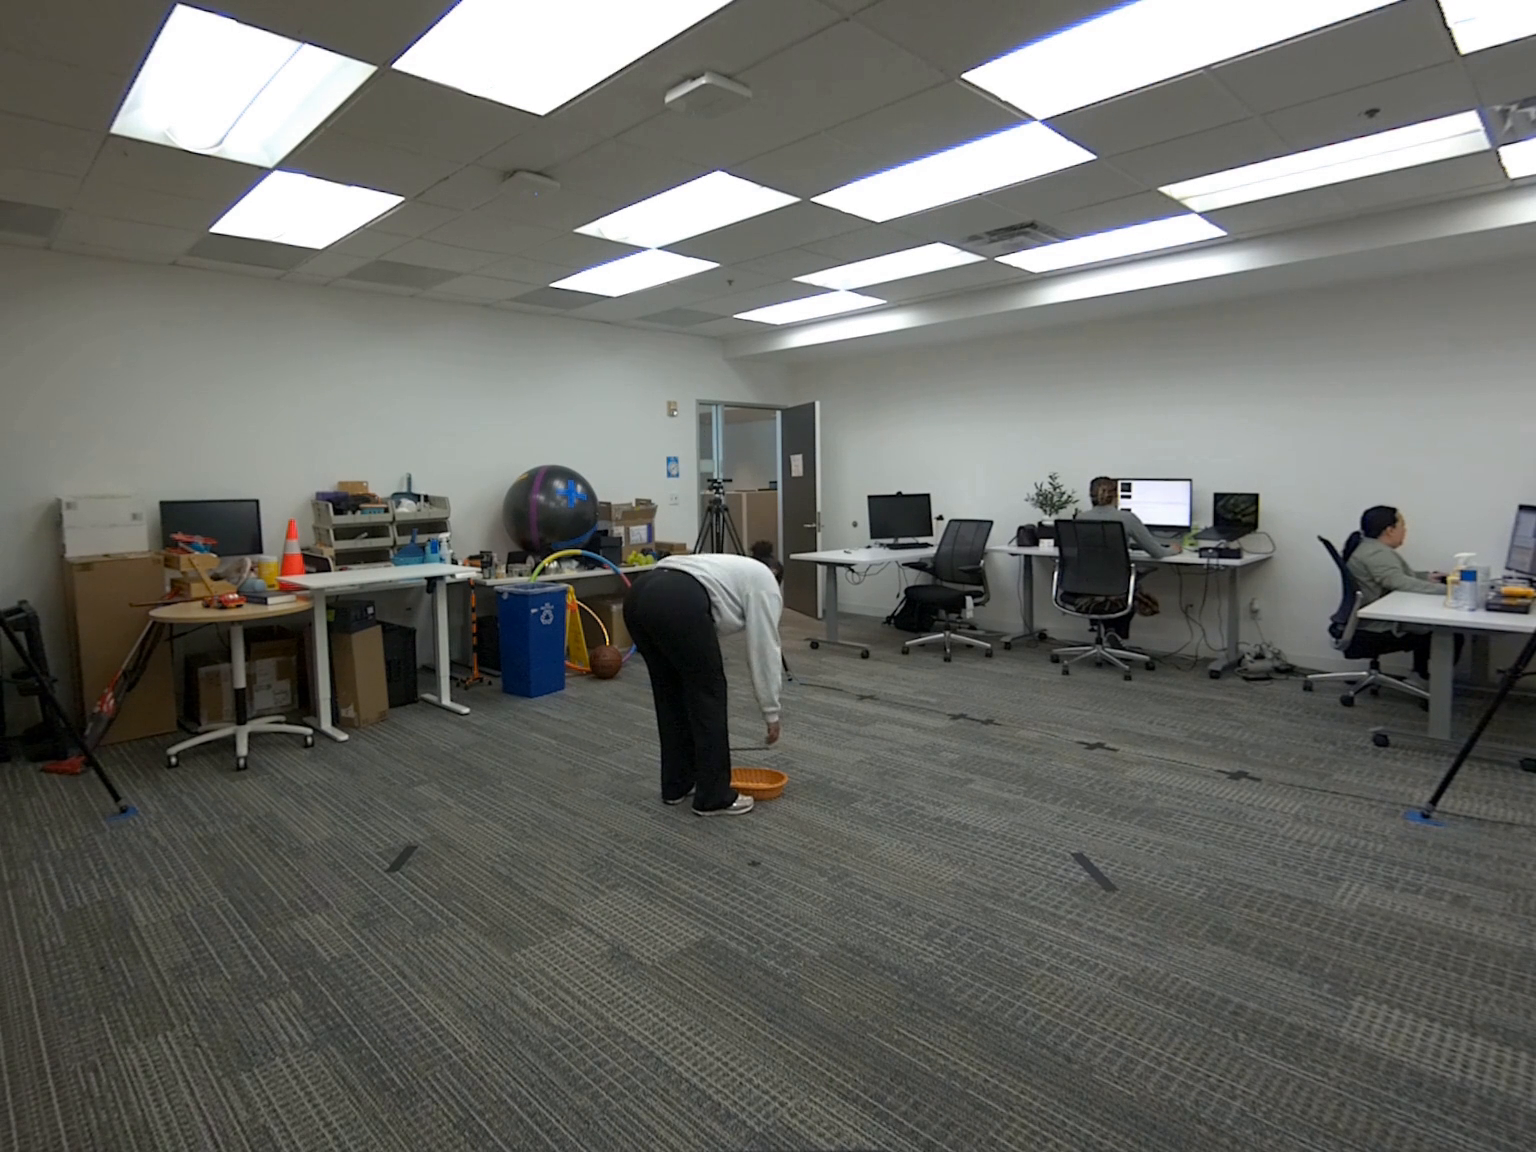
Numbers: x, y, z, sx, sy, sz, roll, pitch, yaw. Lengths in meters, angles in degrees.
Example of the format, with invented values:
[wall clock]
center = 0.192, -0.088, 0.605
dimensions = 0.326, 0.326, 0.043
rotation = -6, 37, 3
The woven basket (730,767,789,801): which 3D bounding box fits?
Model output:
[woven basket]
center = -0.085, 0.923, 3.809
dimensions = 0.356, 0.073, 0.249
rotation = 1, 6, 15
